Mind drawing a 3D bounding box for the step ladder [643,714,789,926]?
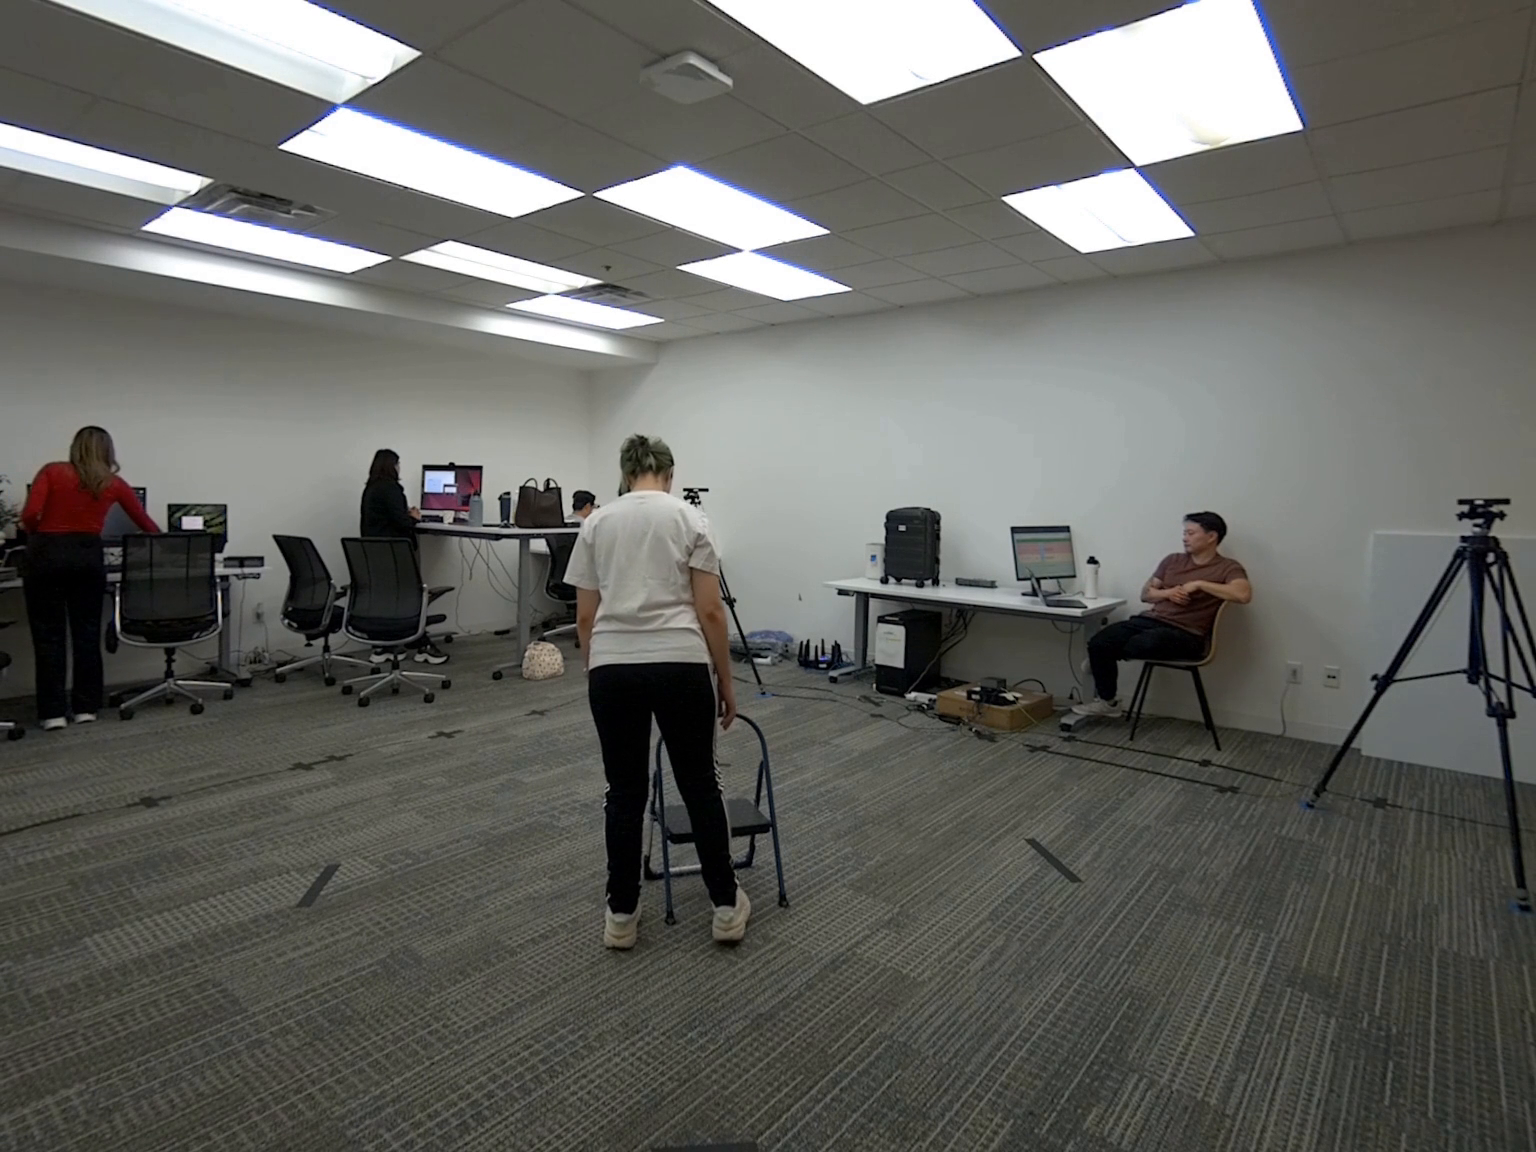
[{"bbox_3d":[-0.189,0.785,2.922,0.422,0.604,0.357,0,3,-21],"label":"step ladder"}]
